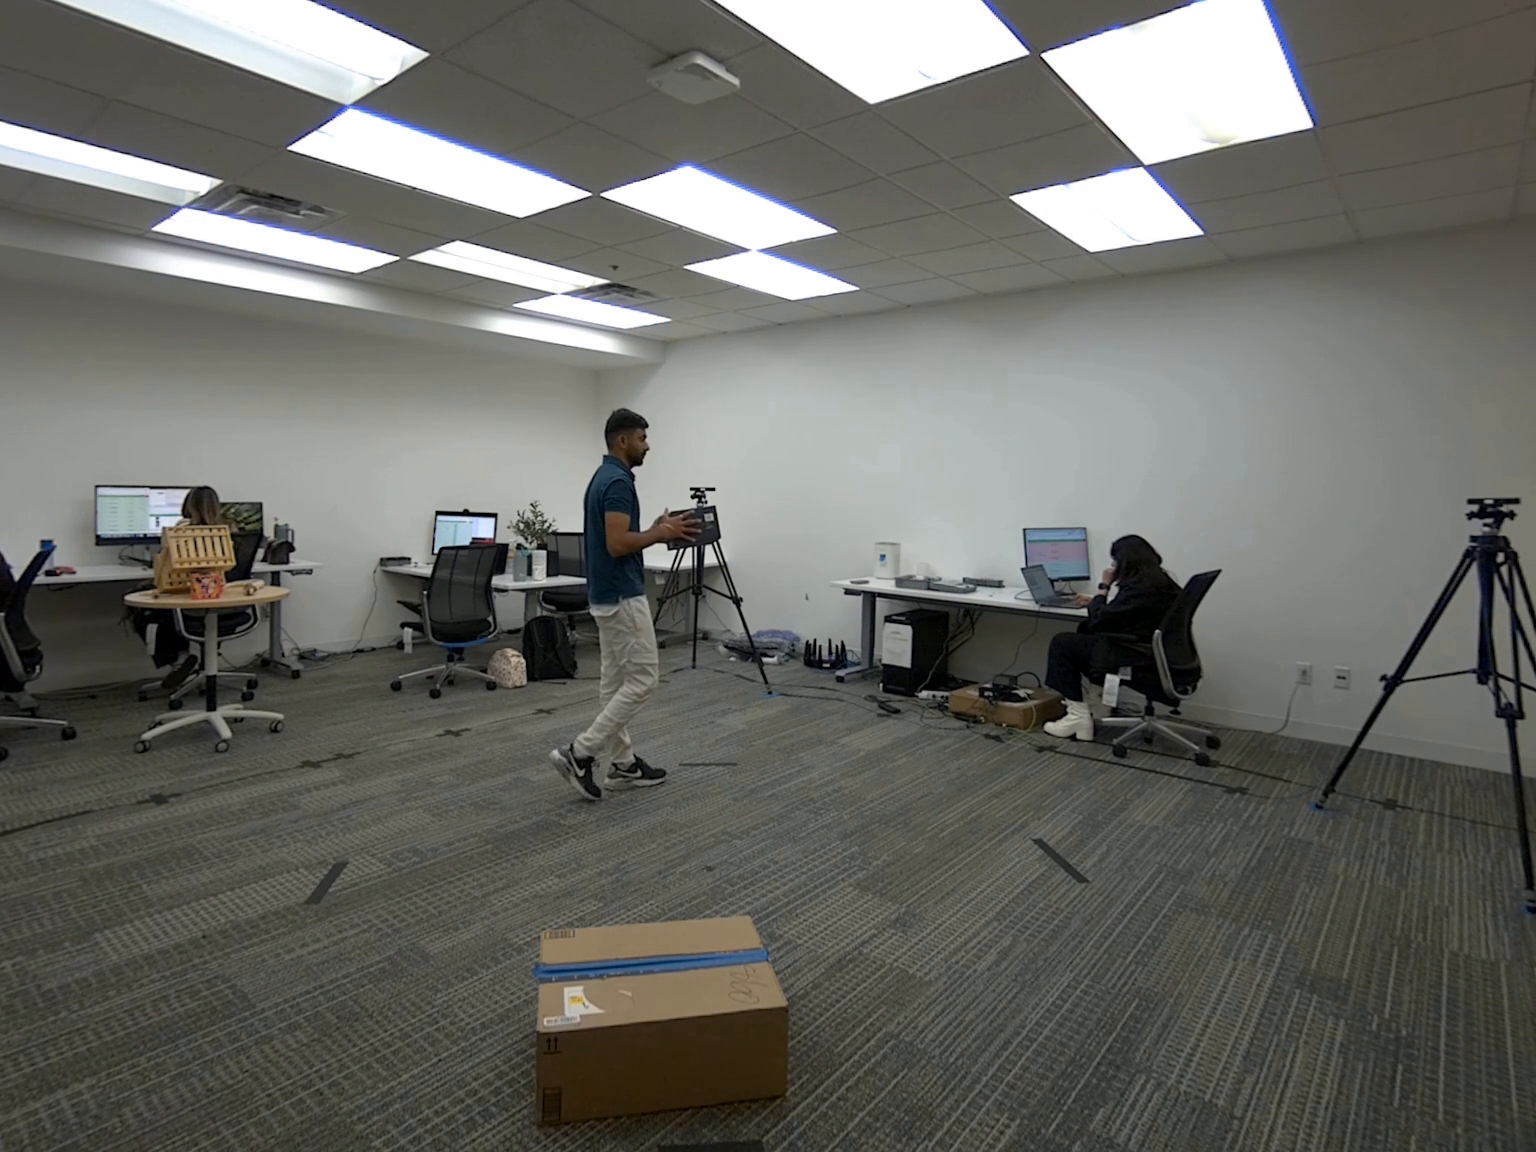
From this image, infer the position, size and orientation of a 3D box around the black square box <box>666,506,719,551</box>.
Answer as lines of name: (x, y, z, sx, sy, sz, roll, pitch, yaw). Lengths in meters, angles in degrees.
black square box: (-0.368, -0.223, 3.968, 0.215, 0.157, 0.229, -7, -4, -11)
